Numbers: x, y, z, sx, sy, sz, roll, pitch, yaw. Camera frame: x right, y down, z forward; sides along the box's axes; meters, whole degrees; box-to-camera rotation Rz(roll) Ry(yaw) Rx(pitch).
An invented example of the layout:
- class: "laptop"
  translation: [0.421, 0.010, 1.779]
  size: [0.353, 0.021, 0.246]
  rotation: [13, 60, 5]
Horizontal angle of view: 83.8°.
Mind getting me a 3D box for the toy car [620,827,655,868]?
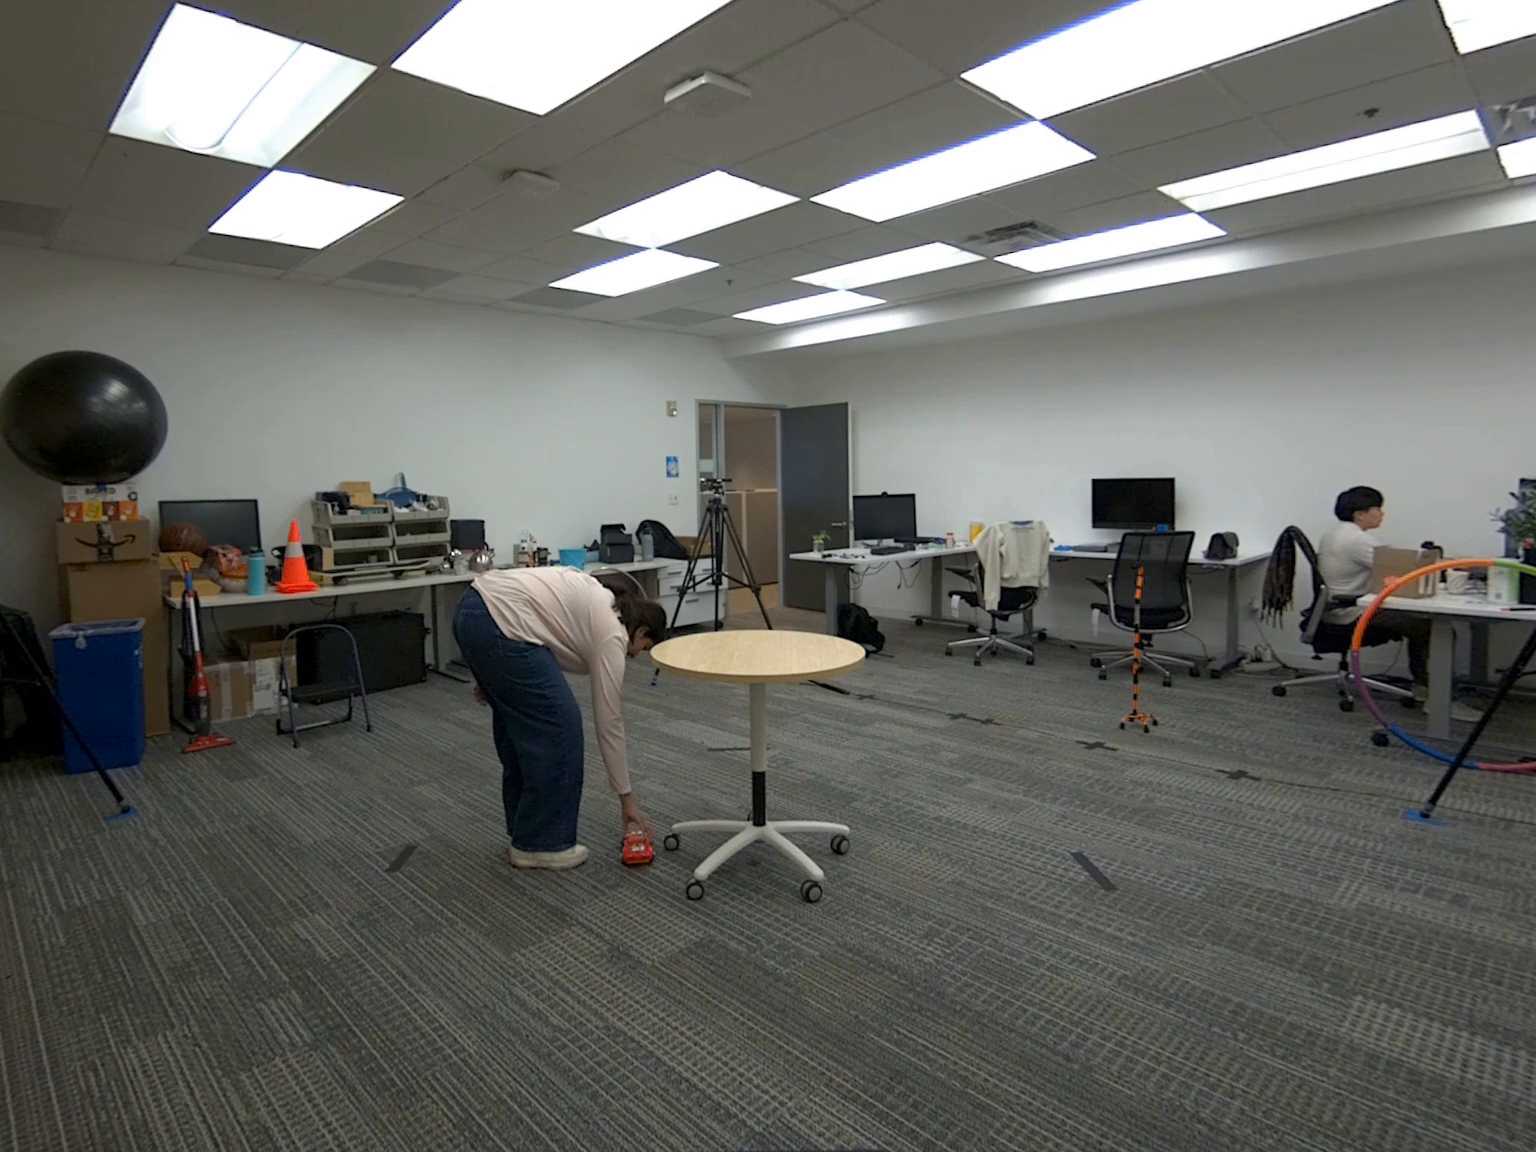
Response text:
- class: "toy car"
  translation: [-0.477, 1.002, 3.163]
  size: [0.129, 0.084, 0.255]
  rotation: [-3, -5, -11]
